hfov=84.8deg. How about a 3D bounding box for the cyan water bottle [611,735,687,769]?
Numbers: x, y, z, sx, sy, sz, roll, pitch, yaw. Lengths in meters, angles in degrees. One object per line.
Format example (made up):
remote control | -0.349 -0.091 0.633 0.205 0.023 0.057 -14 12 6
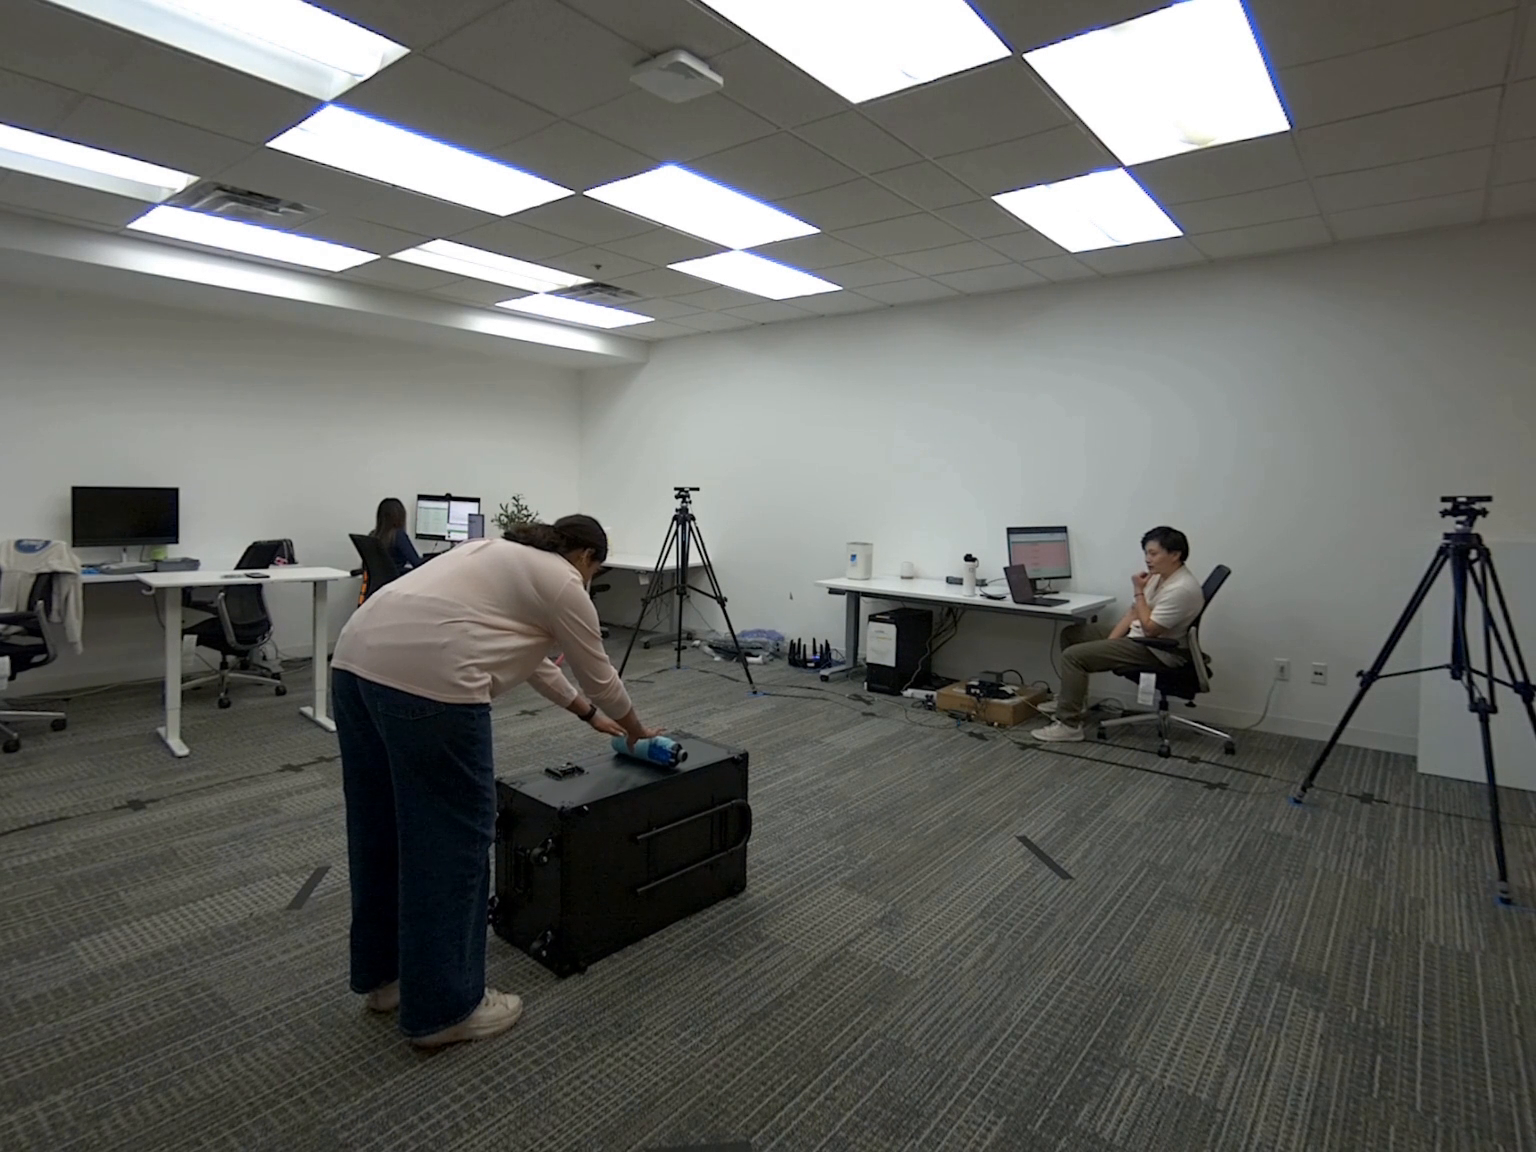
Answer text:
cyan water bottle | -0.401 0.561 2.815 0.293 0.092 0.089 7 7 38
